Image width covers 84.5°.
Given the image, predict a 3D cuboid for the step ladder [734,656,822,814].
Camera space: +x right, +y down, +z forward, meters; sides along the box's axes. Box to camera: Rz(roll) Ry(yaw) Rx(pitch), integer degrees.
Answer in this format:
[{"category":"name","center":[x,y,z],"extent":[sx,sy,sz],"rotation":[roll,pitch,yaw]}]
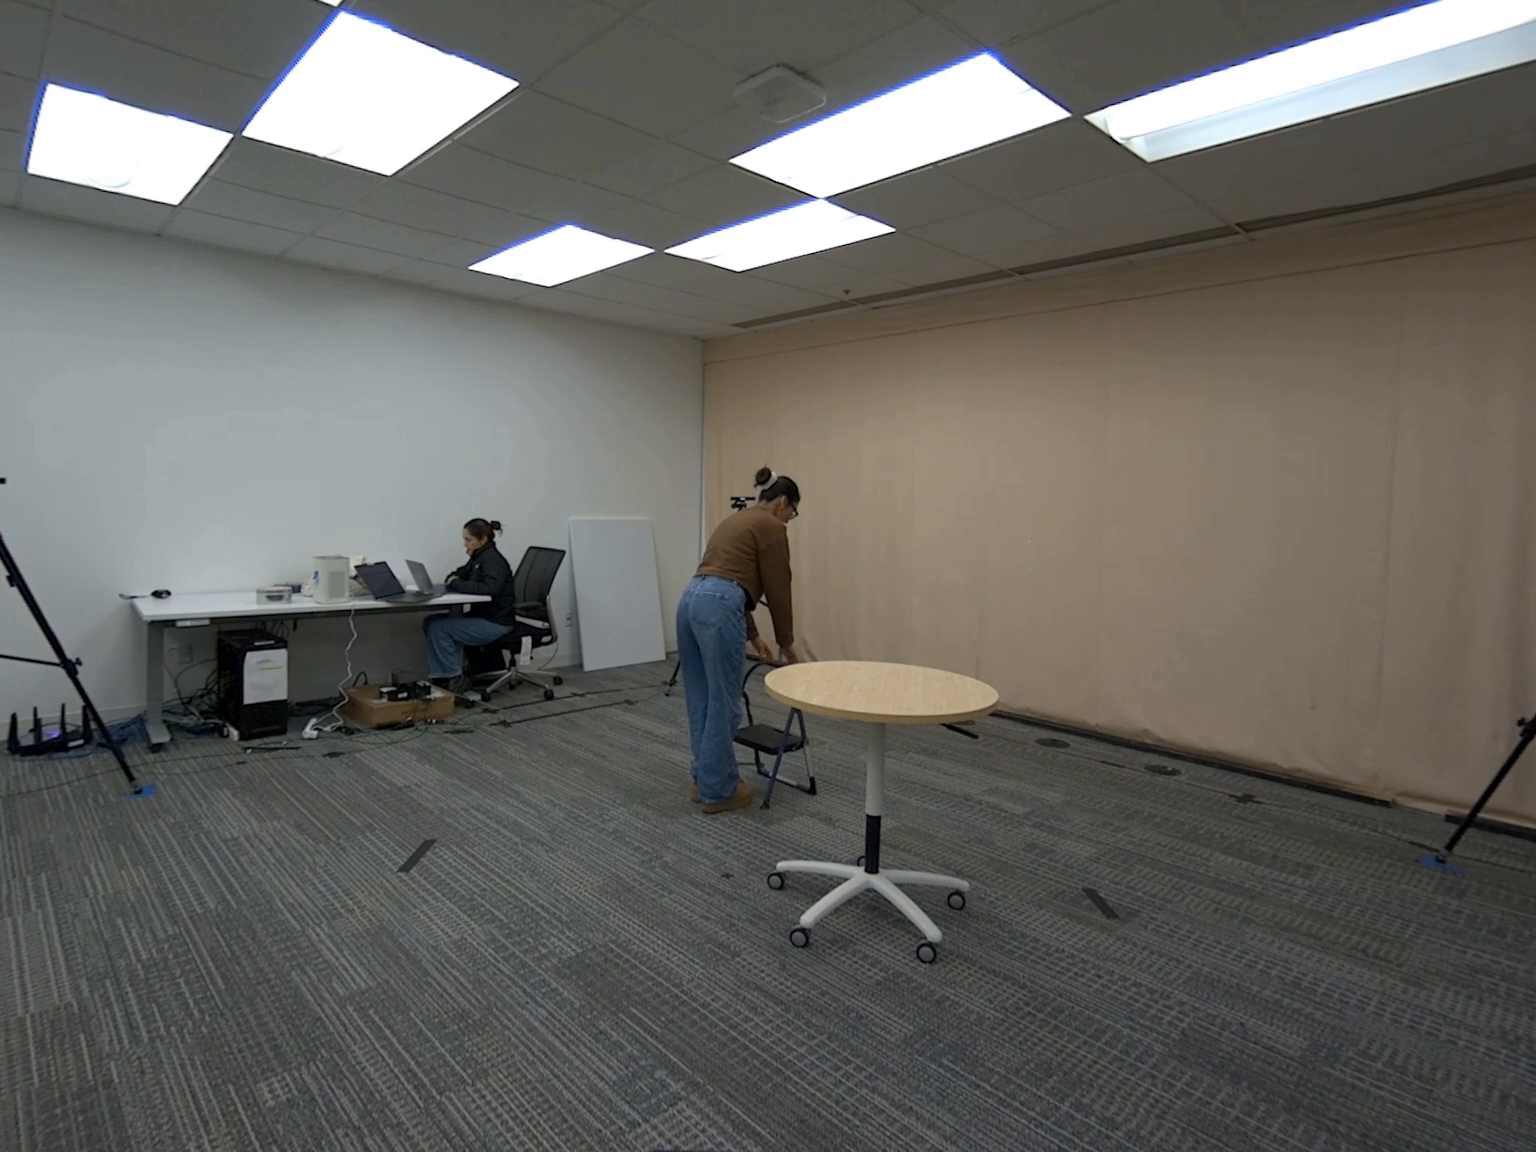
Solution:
[{"category":"step ladder","center":[-0.027,0.733,4.043],"extent":[0.341,0.604,0.441],"rotation":[-2,5,-41]}]
